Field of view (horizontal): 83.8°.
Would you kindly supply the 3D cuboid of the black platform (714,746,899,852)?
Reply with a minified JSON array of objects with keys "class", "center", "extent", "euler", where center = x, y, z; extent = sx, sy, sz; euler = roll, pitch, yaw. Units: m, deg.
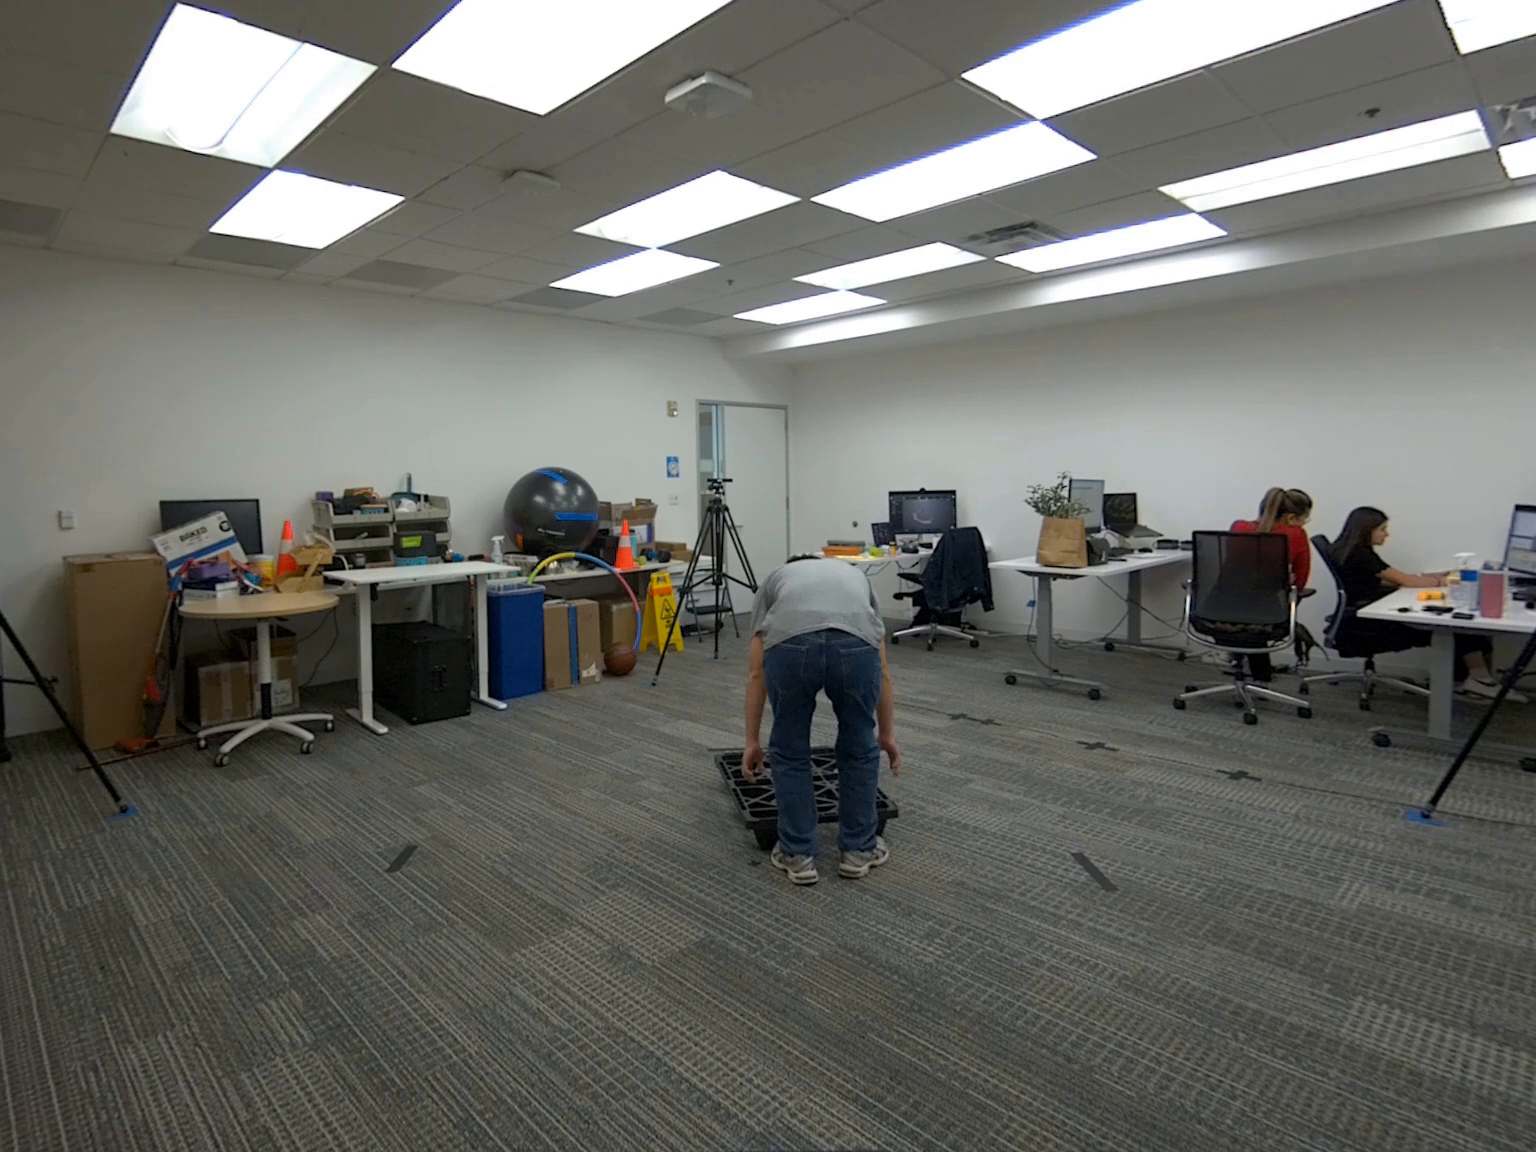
[{"class":"black platform","center":[0.135,0.918,3.606],"extent":[0.599,0.142,0.817],"euler":[-2,6,-11]}]
